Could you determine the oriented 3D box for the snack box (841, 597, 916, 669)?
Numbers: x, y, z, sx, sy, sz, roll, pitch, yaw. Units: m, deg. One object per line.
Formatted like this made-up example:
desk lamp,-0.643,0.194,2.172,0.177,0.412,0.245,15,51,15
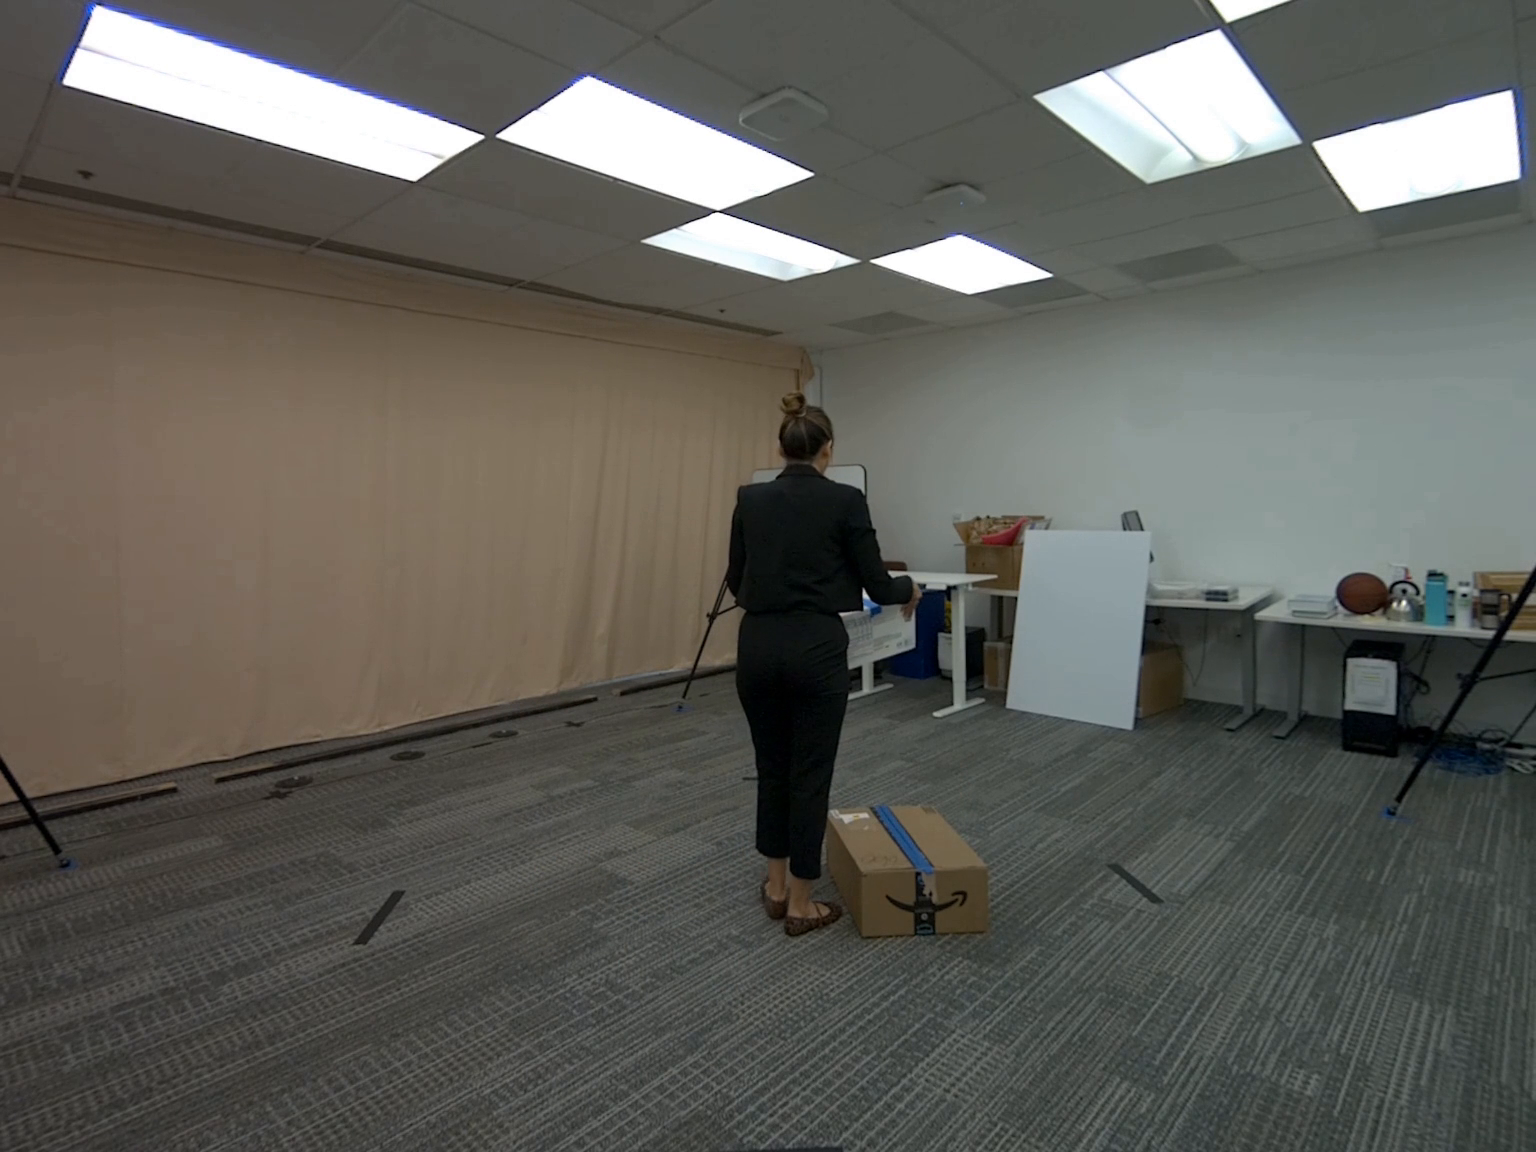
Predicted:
snack box,0.276,0.160,3.108,0.333,0.203,0.419,-15,19,-29
